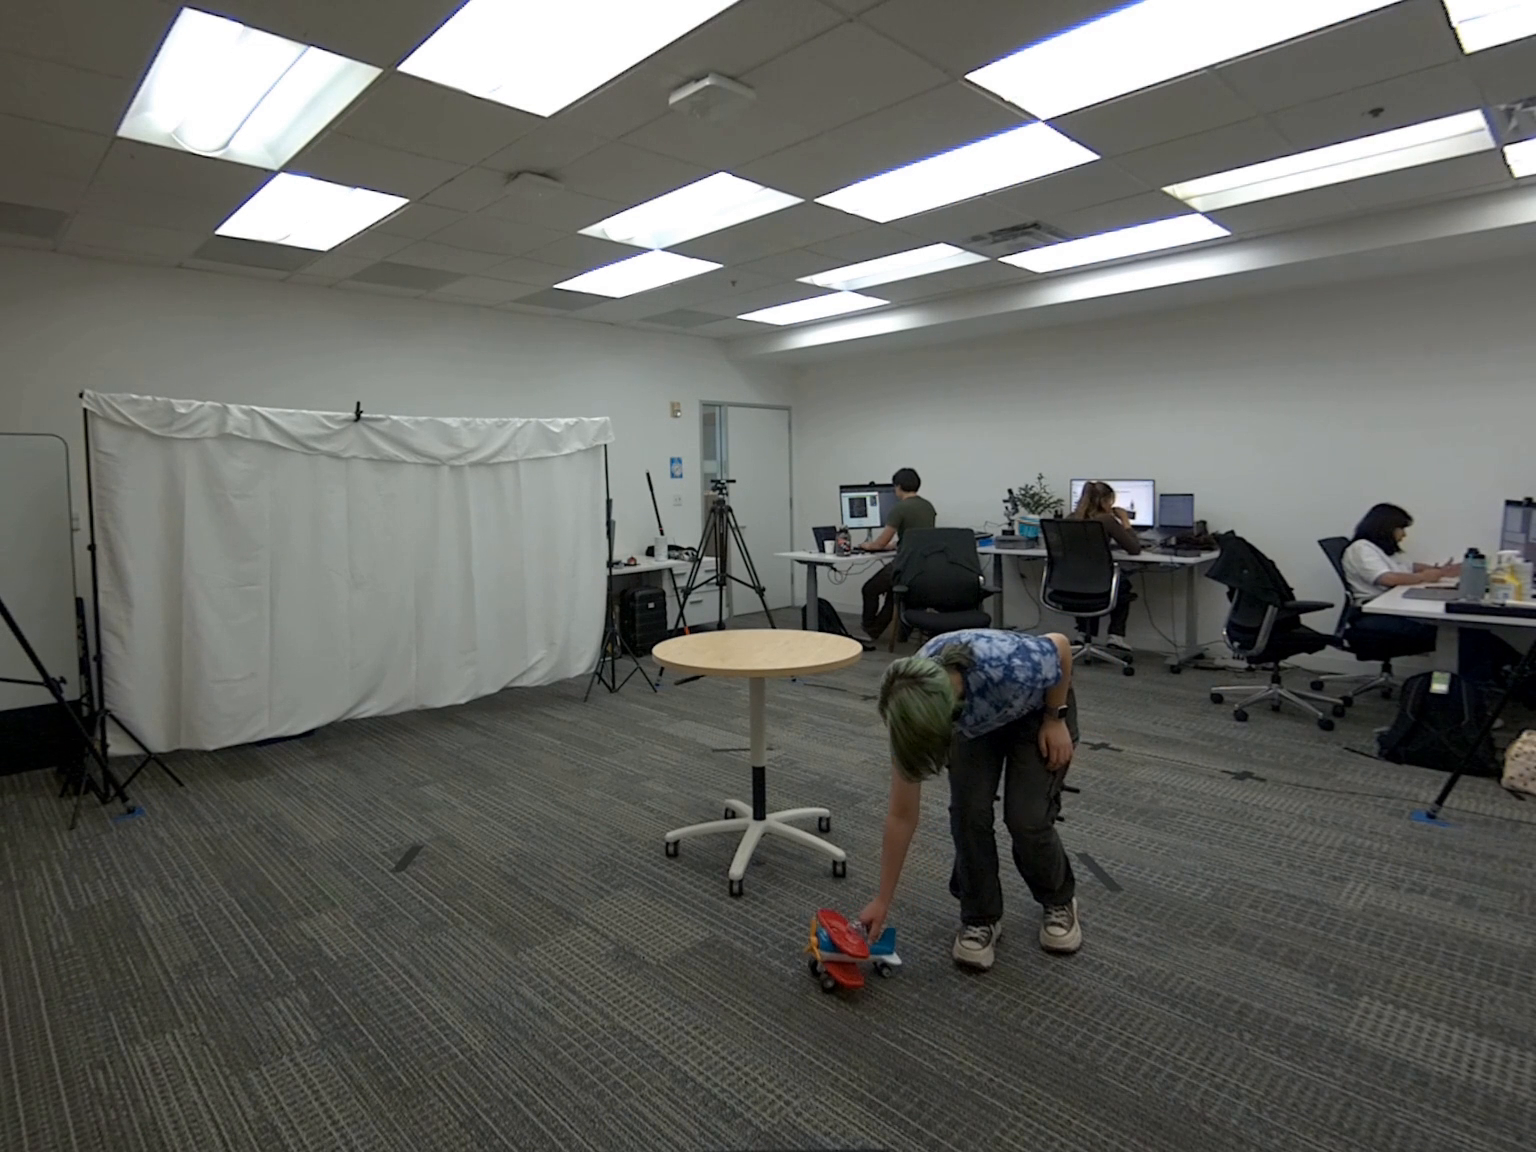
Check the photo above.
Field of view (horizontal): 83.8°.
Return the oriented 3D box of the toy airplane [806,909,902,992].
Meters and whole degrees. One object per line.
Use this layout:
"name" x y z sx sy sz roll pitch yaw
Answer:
"toy airplane" 0.235 1.050 2.398 0.252 0.155 0.259 -8 10 -44
